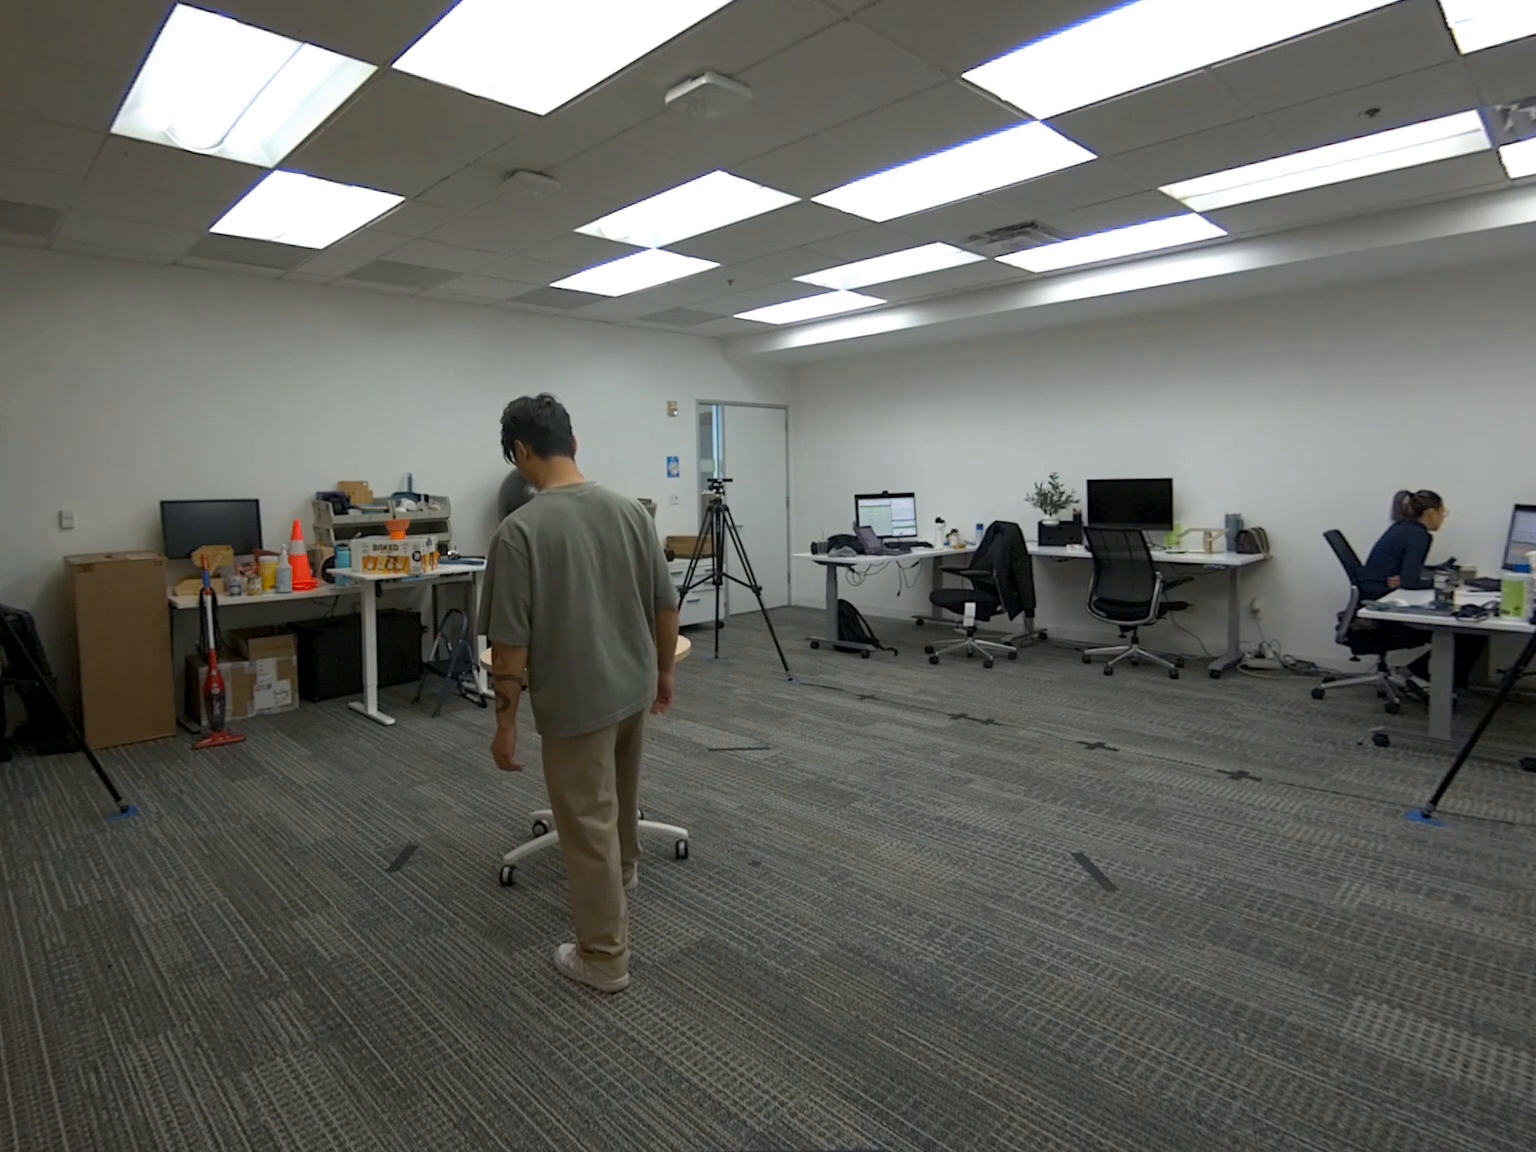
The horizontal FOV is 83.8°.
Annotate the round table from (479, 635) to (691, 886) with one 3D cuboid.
[{"bbox_3d":[-0.660,0.656,3.172,0.784,0.783,0.789,-2,5,-2],"label":"round table"}]
